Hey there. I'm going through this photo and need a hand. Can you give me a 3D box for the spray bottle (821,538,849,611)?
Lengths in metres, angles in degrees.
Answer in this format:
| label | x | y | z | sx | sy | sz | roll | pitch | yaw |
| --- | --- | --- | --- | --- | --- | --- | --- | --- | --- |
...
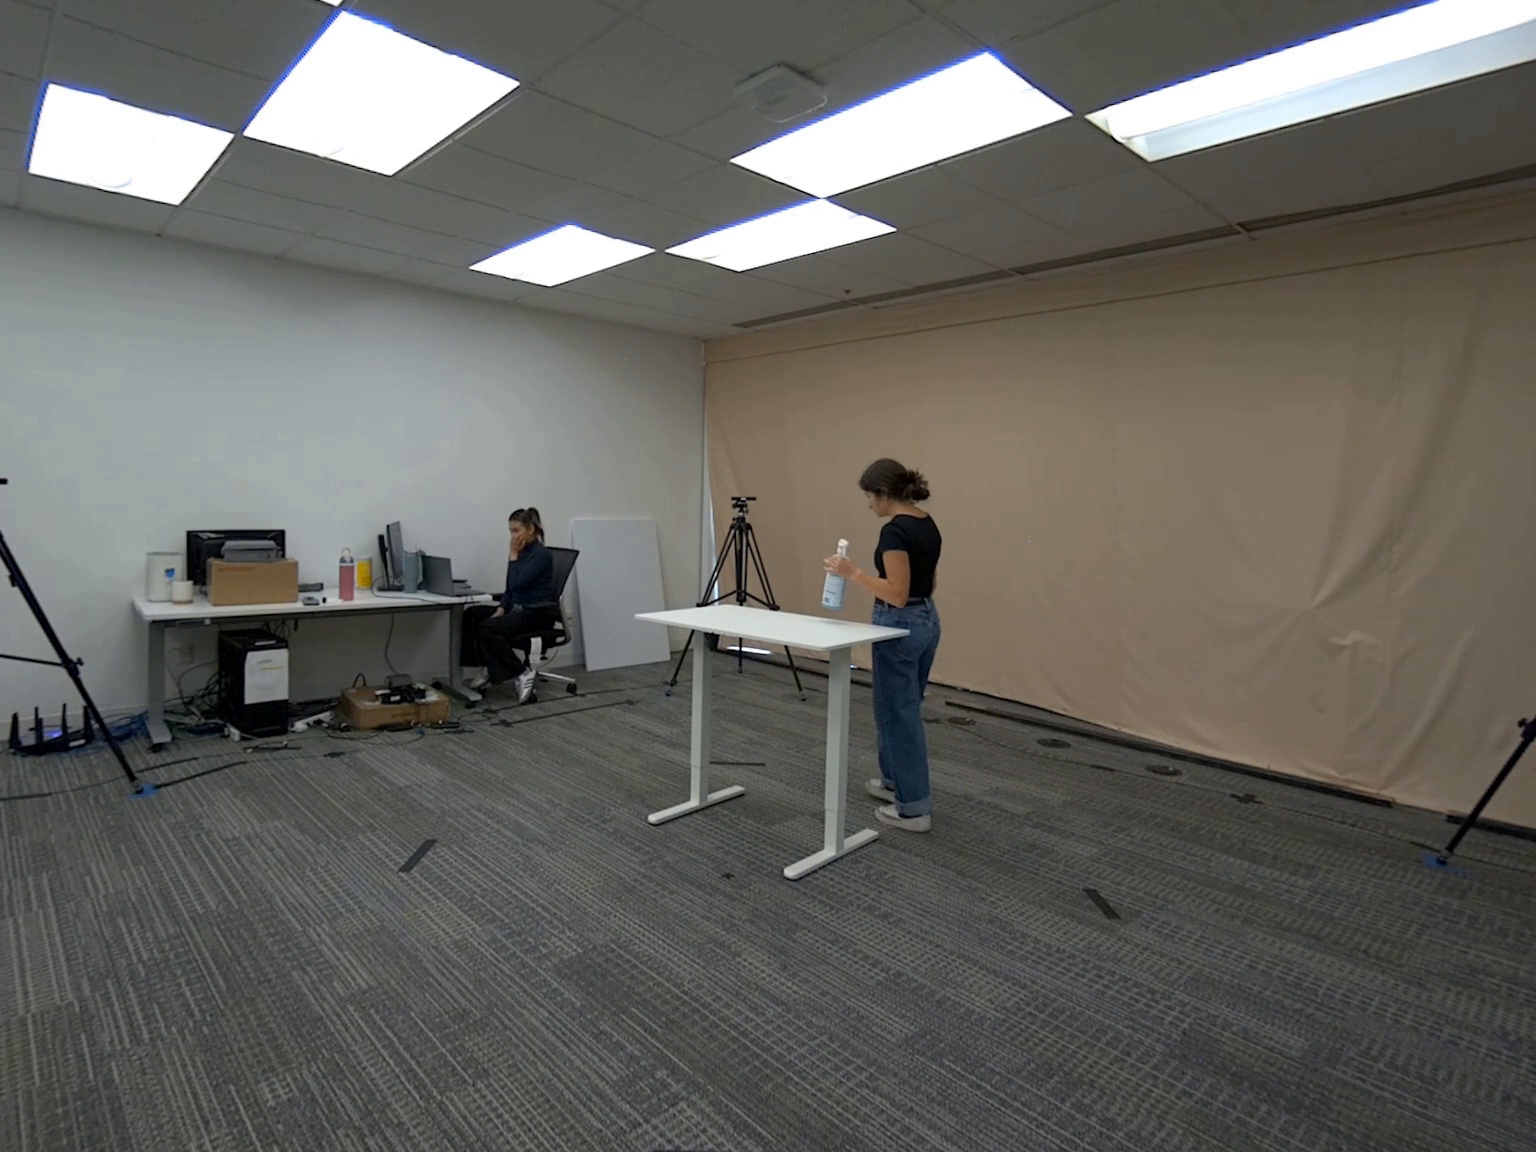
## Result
| label | x | y | z | sx | sy | sz | roll | pitch | yaw |
| --- | --- | --- | --- | --- | --- | --- | --- | --- | --- |
| spray bottle | 0.286 | -0.012 | 3.538 | 0.088 | 0.295 | 0.090 | 11 | 14 | 11 |
